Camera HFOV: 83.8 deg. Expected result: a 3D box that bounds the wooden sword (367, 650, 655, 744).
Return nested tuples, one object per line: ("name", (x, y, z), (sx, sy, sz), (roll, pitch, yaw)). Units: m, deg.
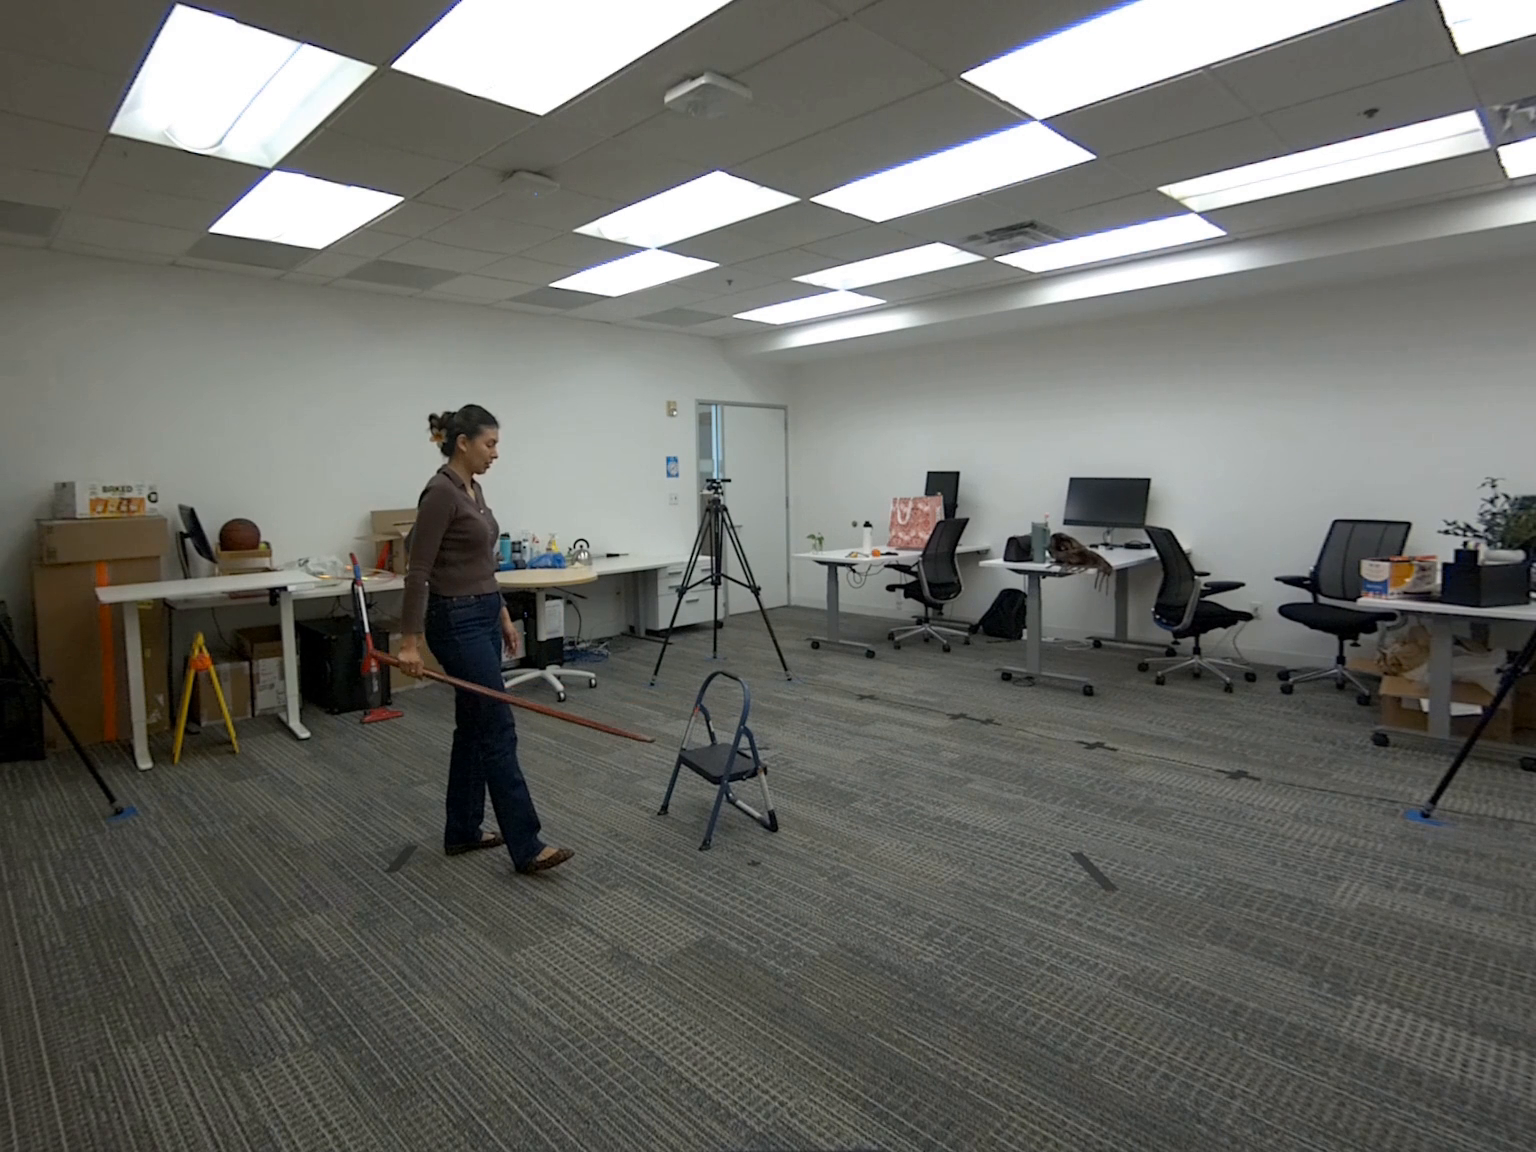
("wooden sword", (-0.867, 0.427, 2.982), (1.013, 0.024, 0.052), (18, 36, -9))
